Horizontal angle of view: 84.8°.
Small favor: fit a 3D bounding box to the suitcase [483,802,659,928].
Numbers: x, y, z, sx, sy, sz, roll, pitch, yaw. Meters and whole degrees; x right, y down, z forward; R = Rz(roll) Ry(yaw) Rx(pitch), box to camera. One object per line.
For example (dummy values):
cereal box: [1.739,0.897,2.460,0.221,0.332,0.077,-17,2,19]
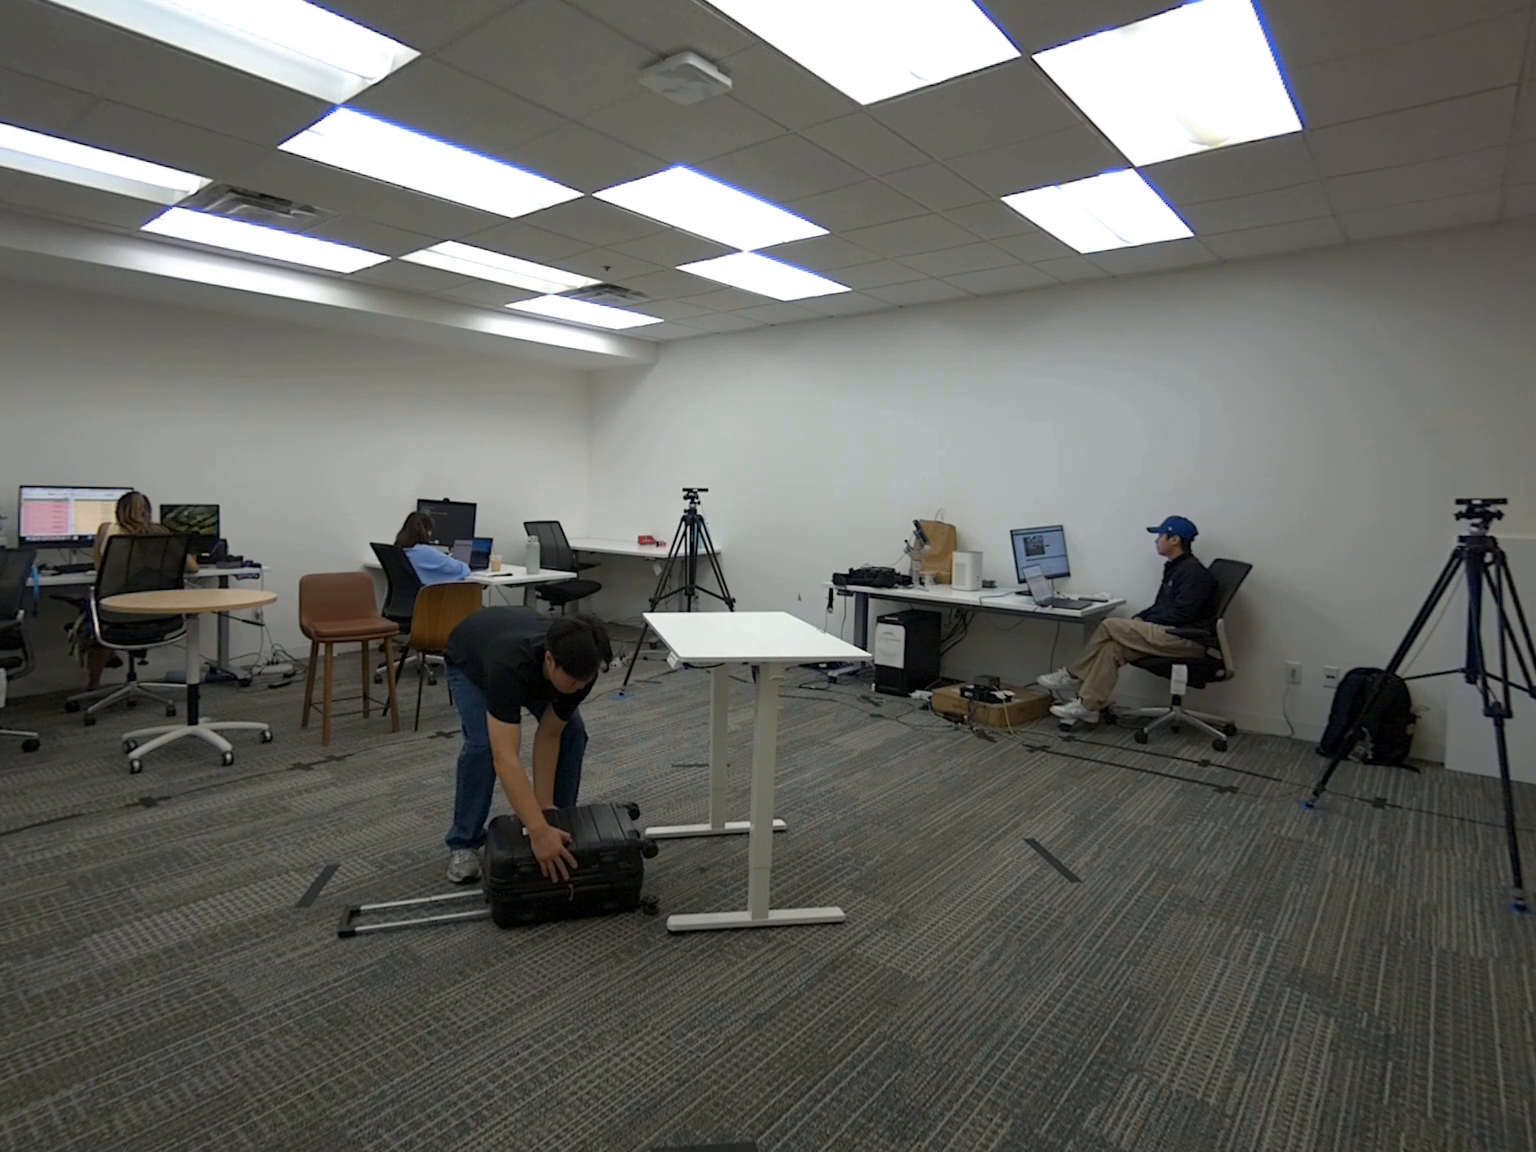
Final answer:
suitcase: [-0.874,0.956,2.797,0.962,0.256,0.392,0,6,-16]
